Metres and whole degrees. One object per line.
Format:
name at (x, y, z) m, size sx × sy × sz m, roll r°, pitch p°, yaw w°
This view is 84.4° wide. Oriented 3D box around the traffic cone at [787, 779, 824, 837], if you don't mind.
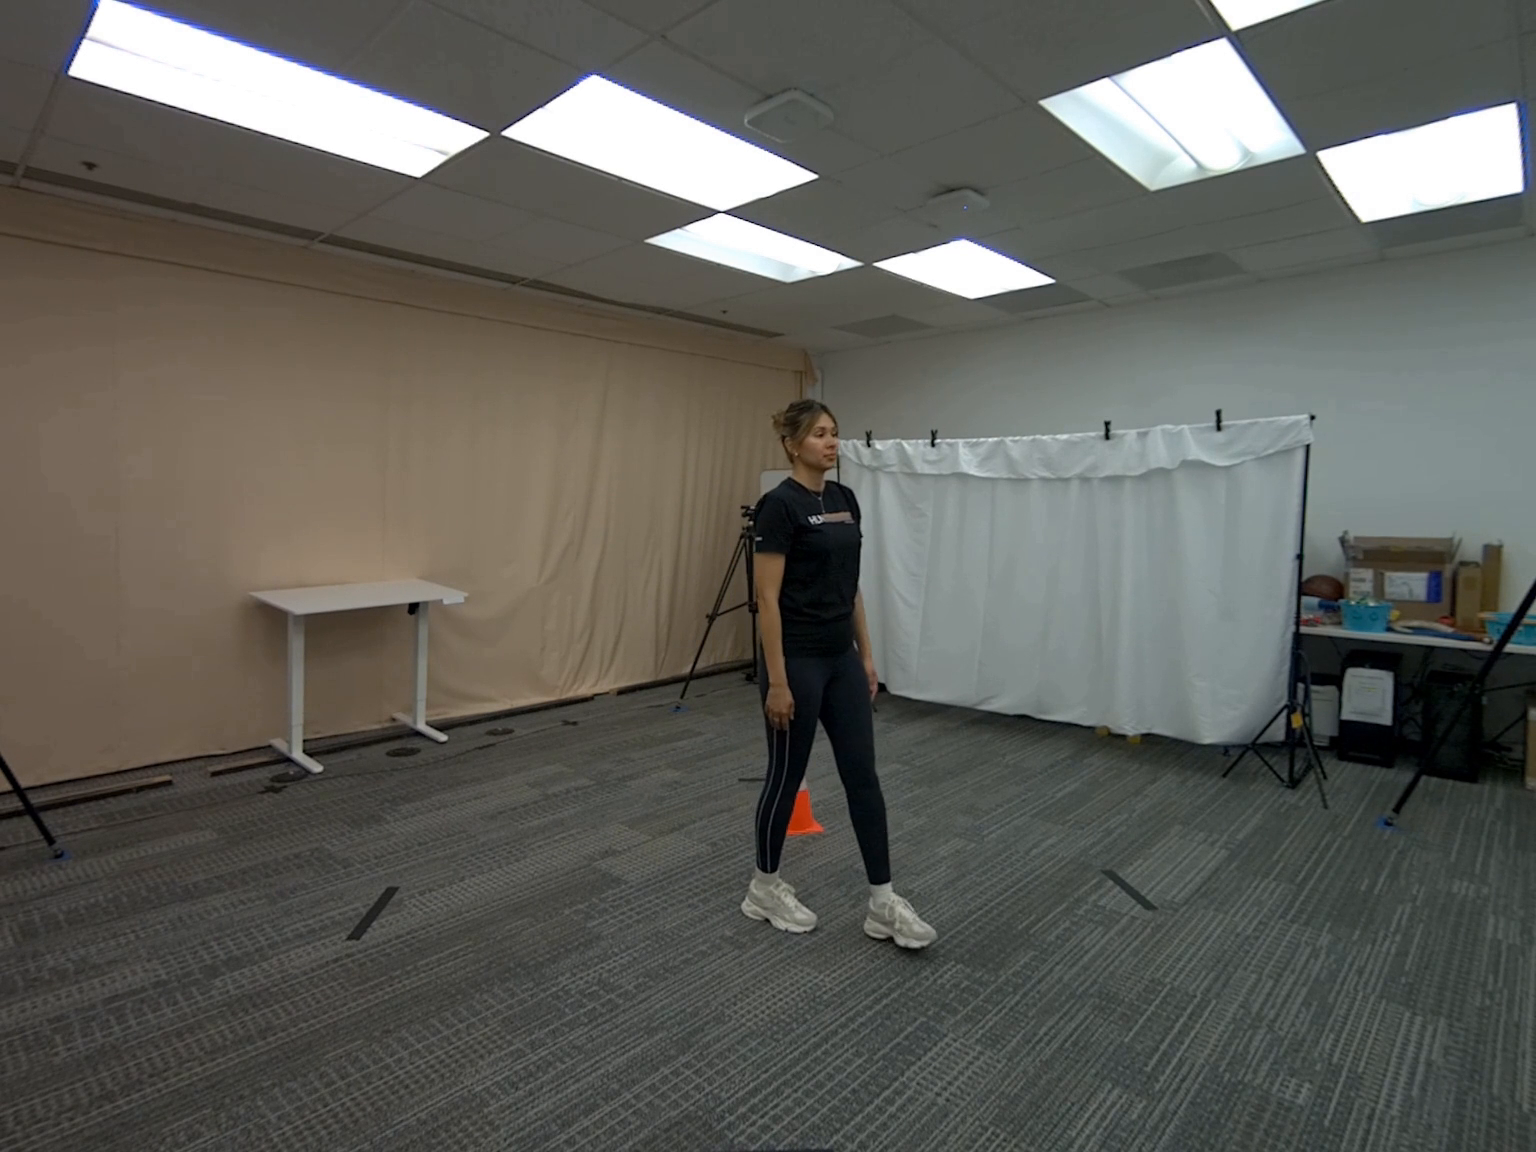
traffic cone at (0.119, 0.904, 3.680) m, size 0.200 × 0.384 × 0.208 m, roll 0°, pitch 0°, yaw -16°
